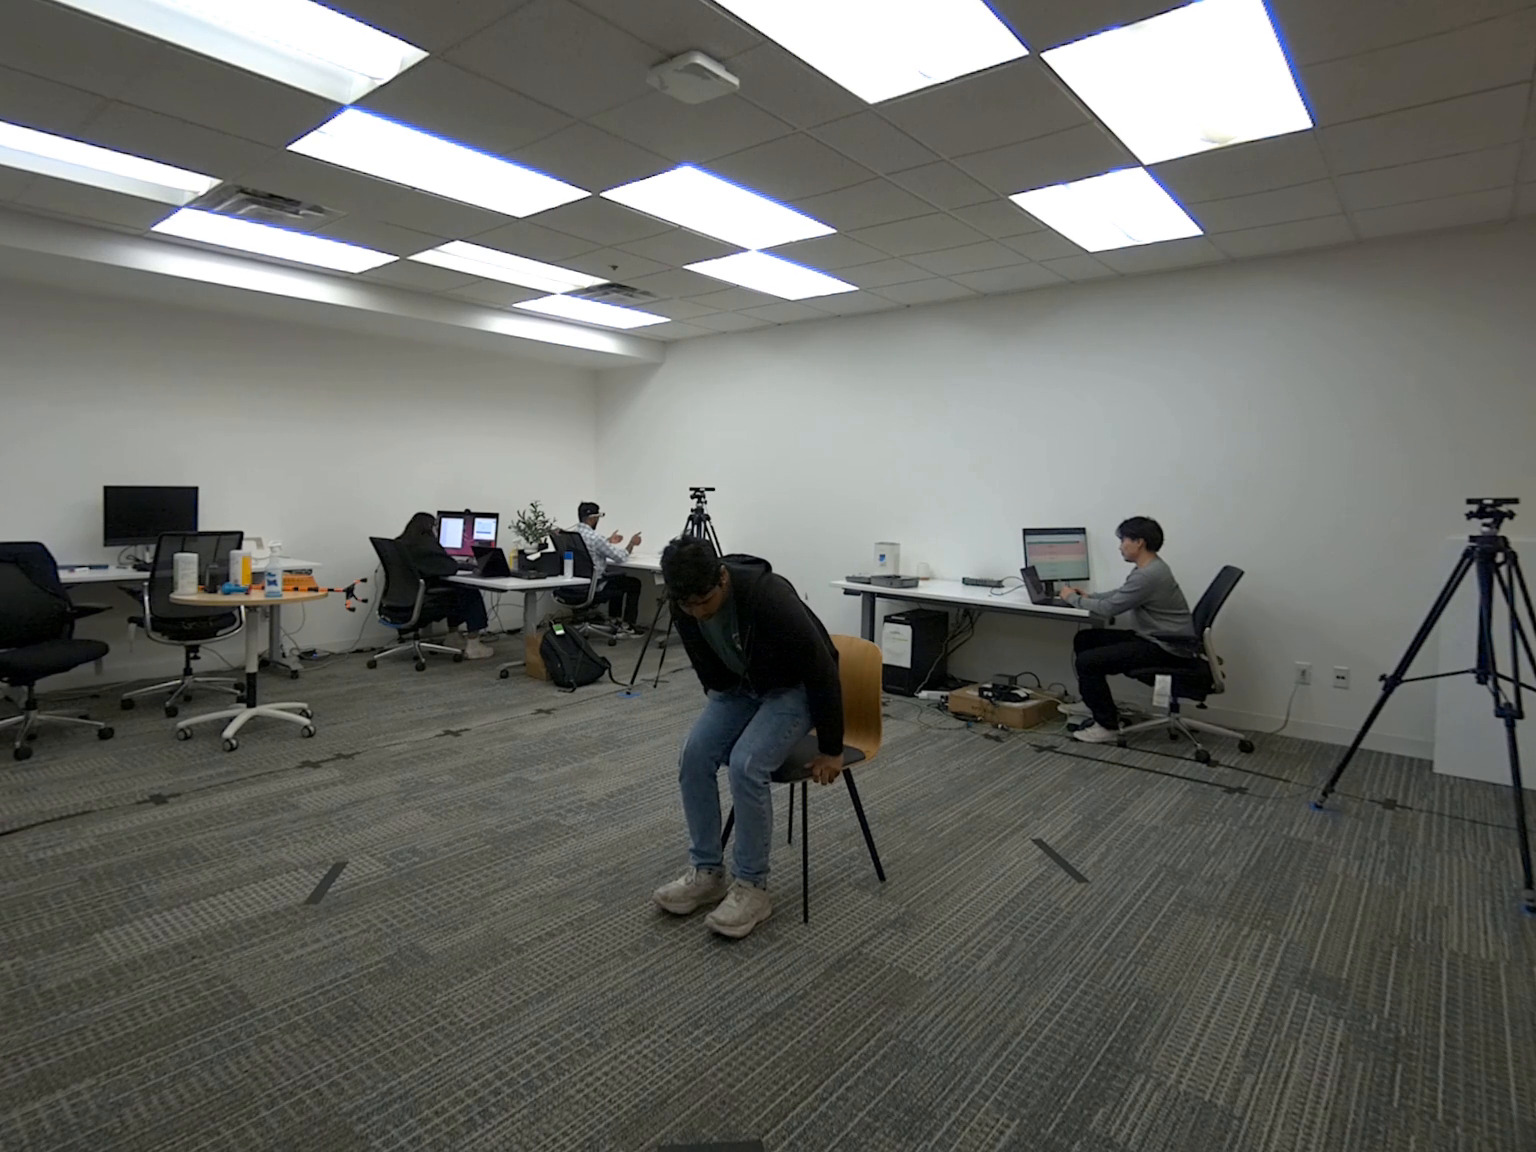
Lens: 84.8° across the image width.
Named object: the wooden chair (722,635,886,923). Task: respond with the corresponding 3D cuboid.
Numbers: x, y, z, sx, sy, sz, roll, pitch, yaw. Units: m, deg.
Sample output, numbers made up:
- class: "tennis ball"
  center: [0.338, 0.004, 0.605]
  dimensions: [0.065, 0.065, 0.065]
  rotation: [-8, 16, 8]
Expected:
- class: "wooden chair"
  center: [0.098, 0.655, 3.005]
  dimensions: [0.494, 0.877, 0.506]
  rotation: [5, 2, 43]
